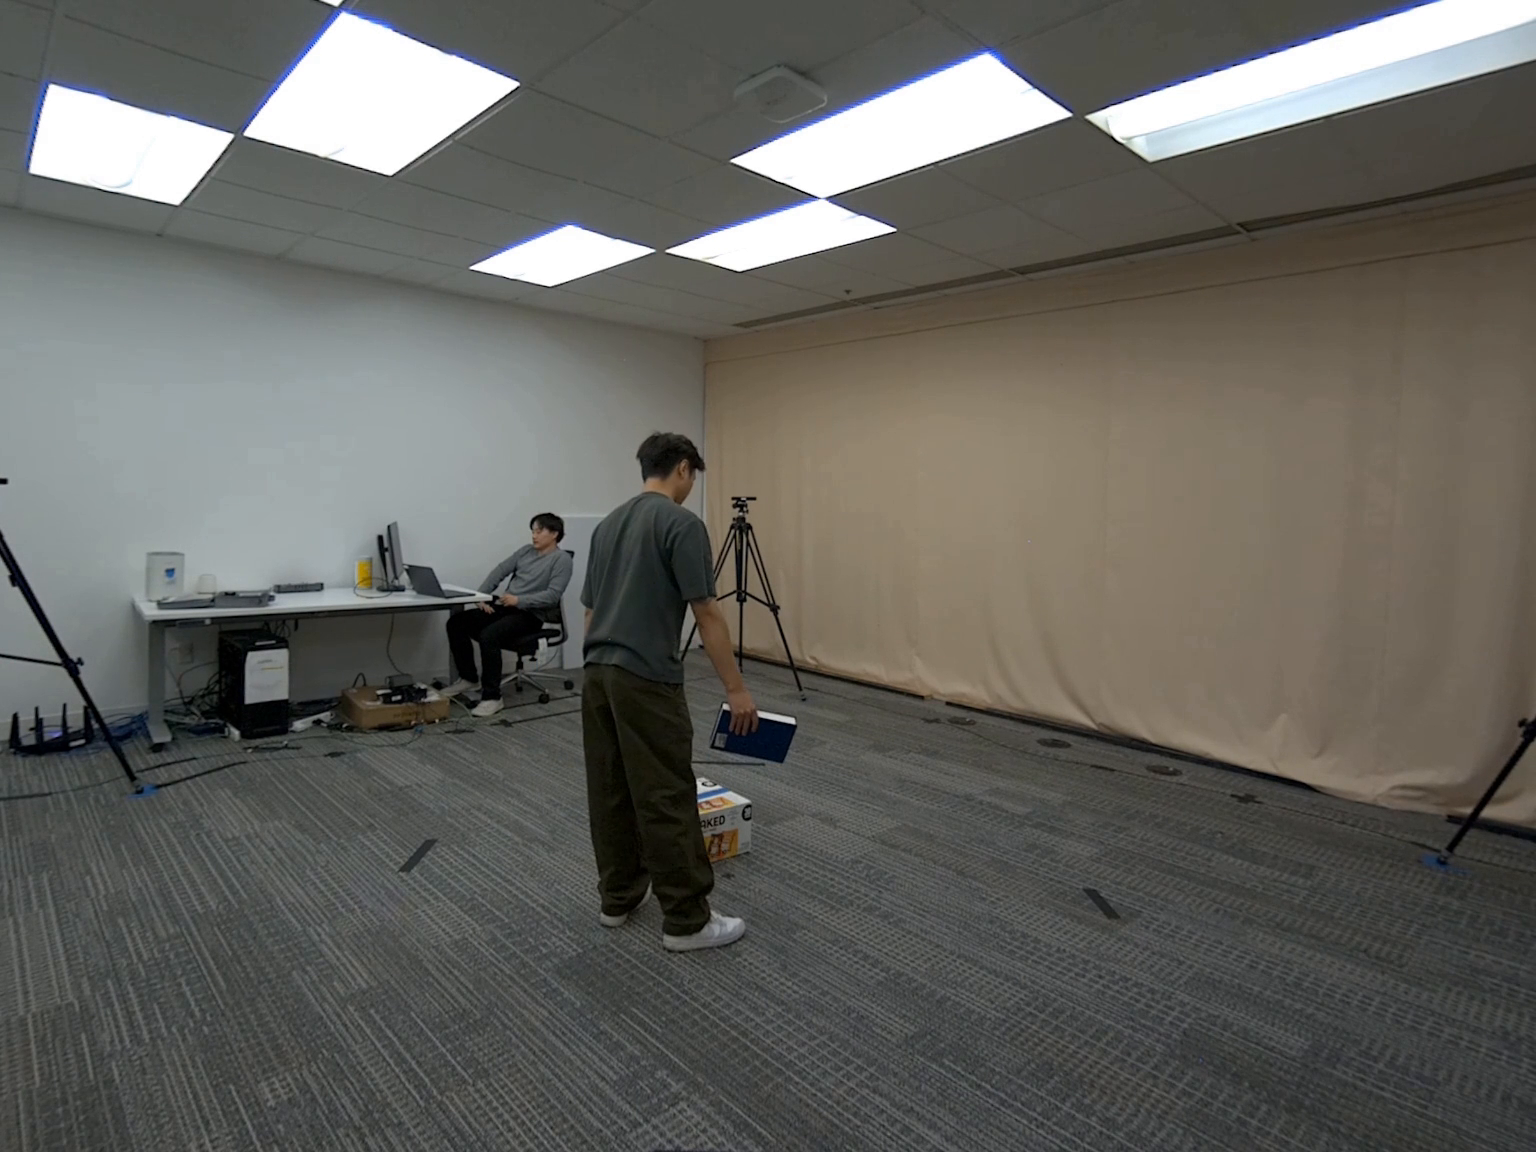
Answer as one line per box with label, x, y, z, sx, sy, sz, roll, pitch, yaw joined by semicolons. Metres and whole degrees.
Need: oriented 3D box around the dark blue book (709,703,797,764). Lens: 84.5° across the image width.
dark blue book;-0.056;0.506;2.658;0.244;0.161;0.046;12;22;-6
